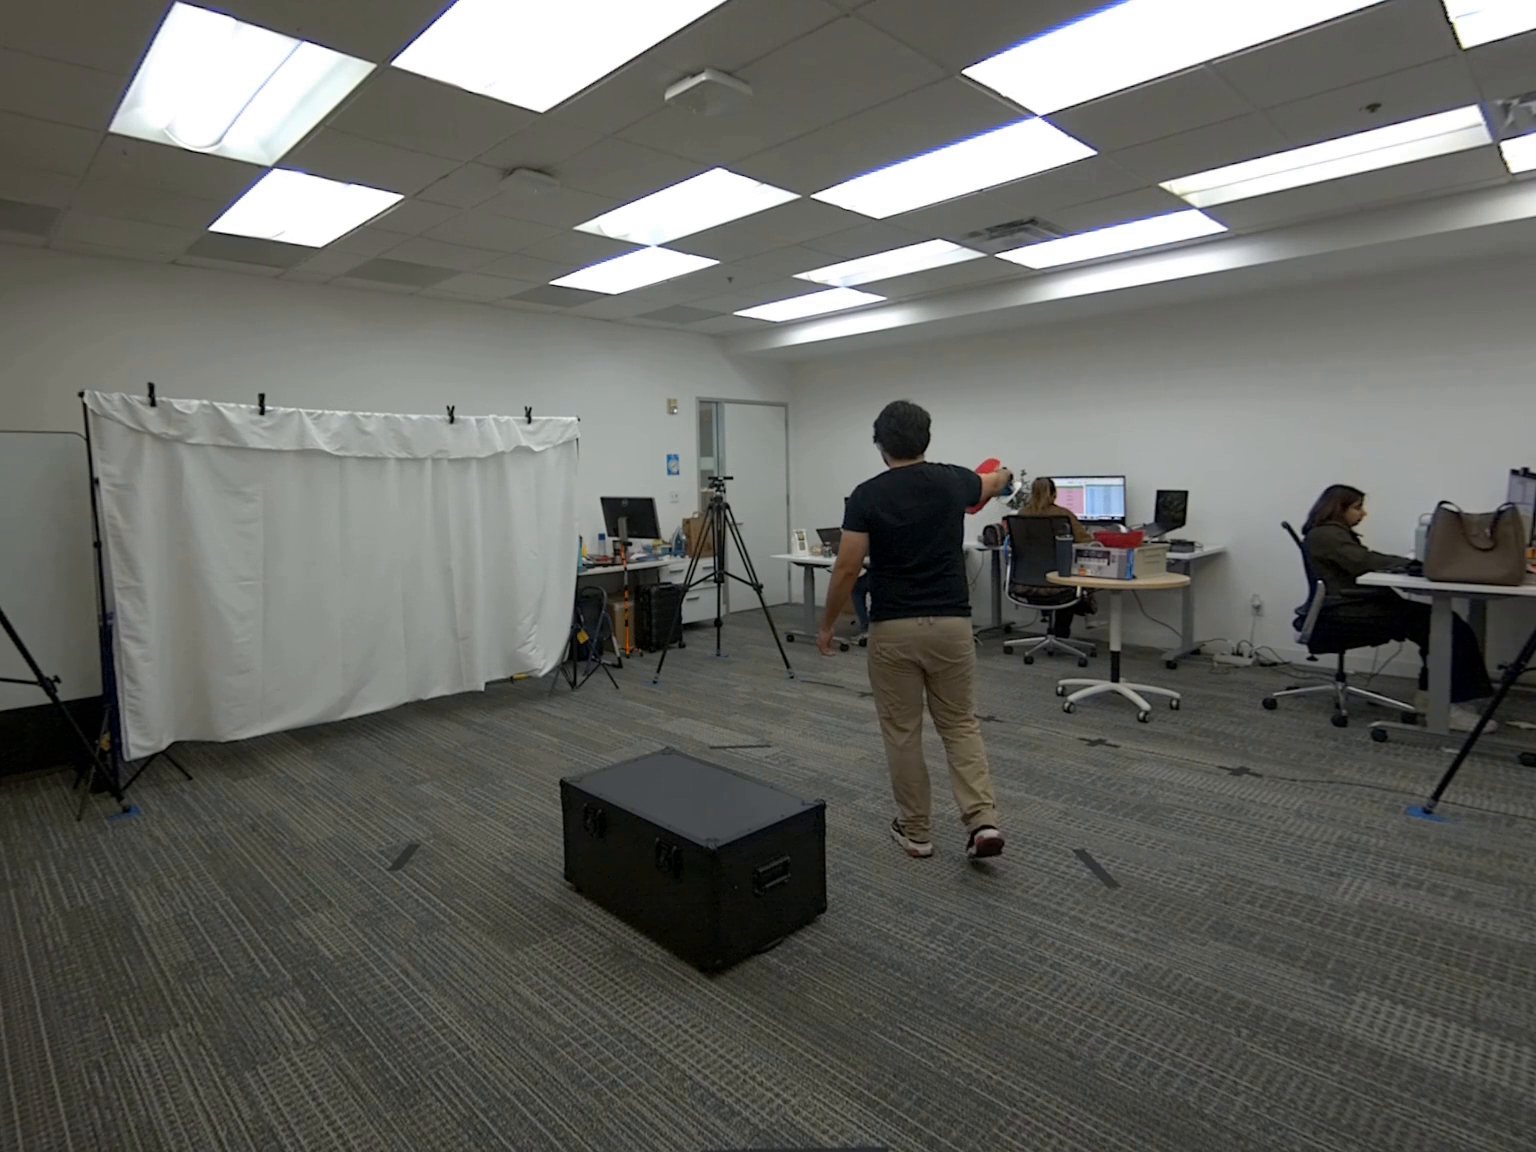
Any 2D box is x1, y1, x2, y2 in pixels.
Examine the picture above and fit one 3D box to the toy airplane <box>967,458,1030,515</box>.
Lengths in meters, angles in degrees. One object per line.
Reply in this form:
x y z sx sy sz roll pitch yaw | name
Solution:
0.977 -0.381 3.648 0.263 0.152 0.254 -24 29 41 | toy airplane
